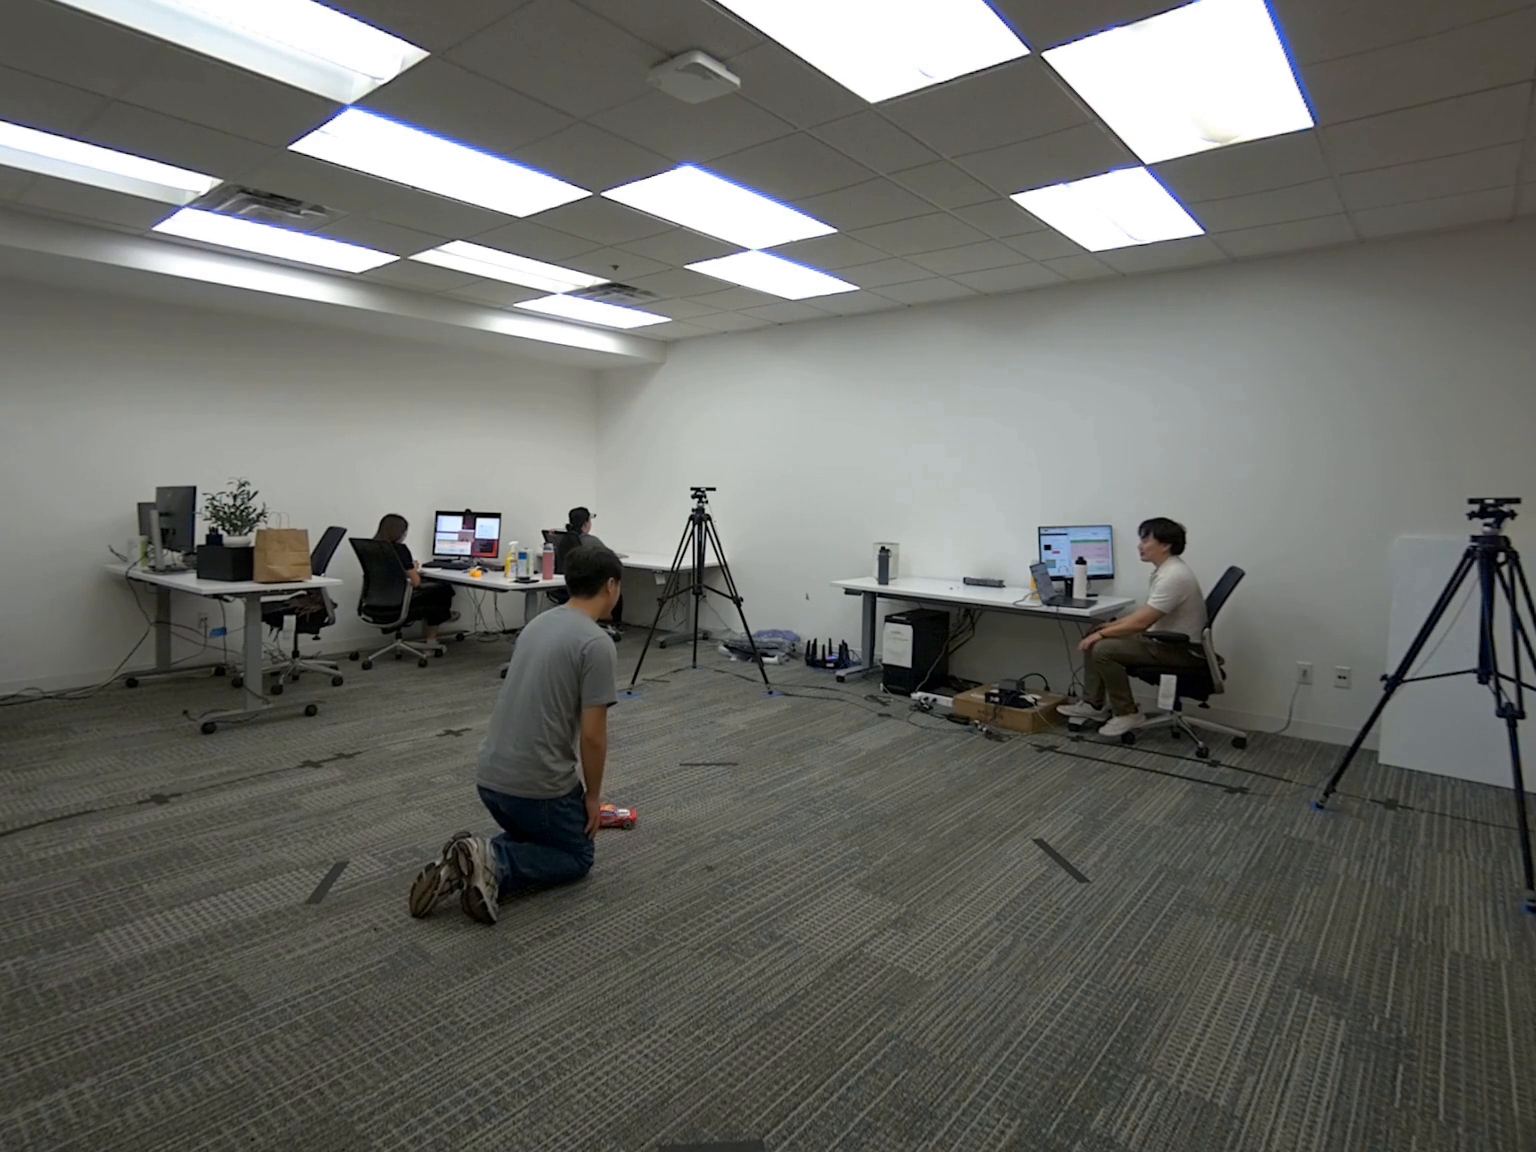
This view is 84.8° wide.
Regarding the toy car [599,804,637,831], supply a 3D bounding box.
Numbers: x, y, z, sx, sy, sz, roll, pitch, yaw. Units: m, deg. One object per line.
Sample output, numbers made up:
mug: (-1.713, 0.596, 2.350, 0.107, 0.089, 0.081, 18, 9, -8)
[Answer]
toy car: (-0.683, 0.987, 3.498, 0.253, 0.083, 0.131, 11, 5, -5)
